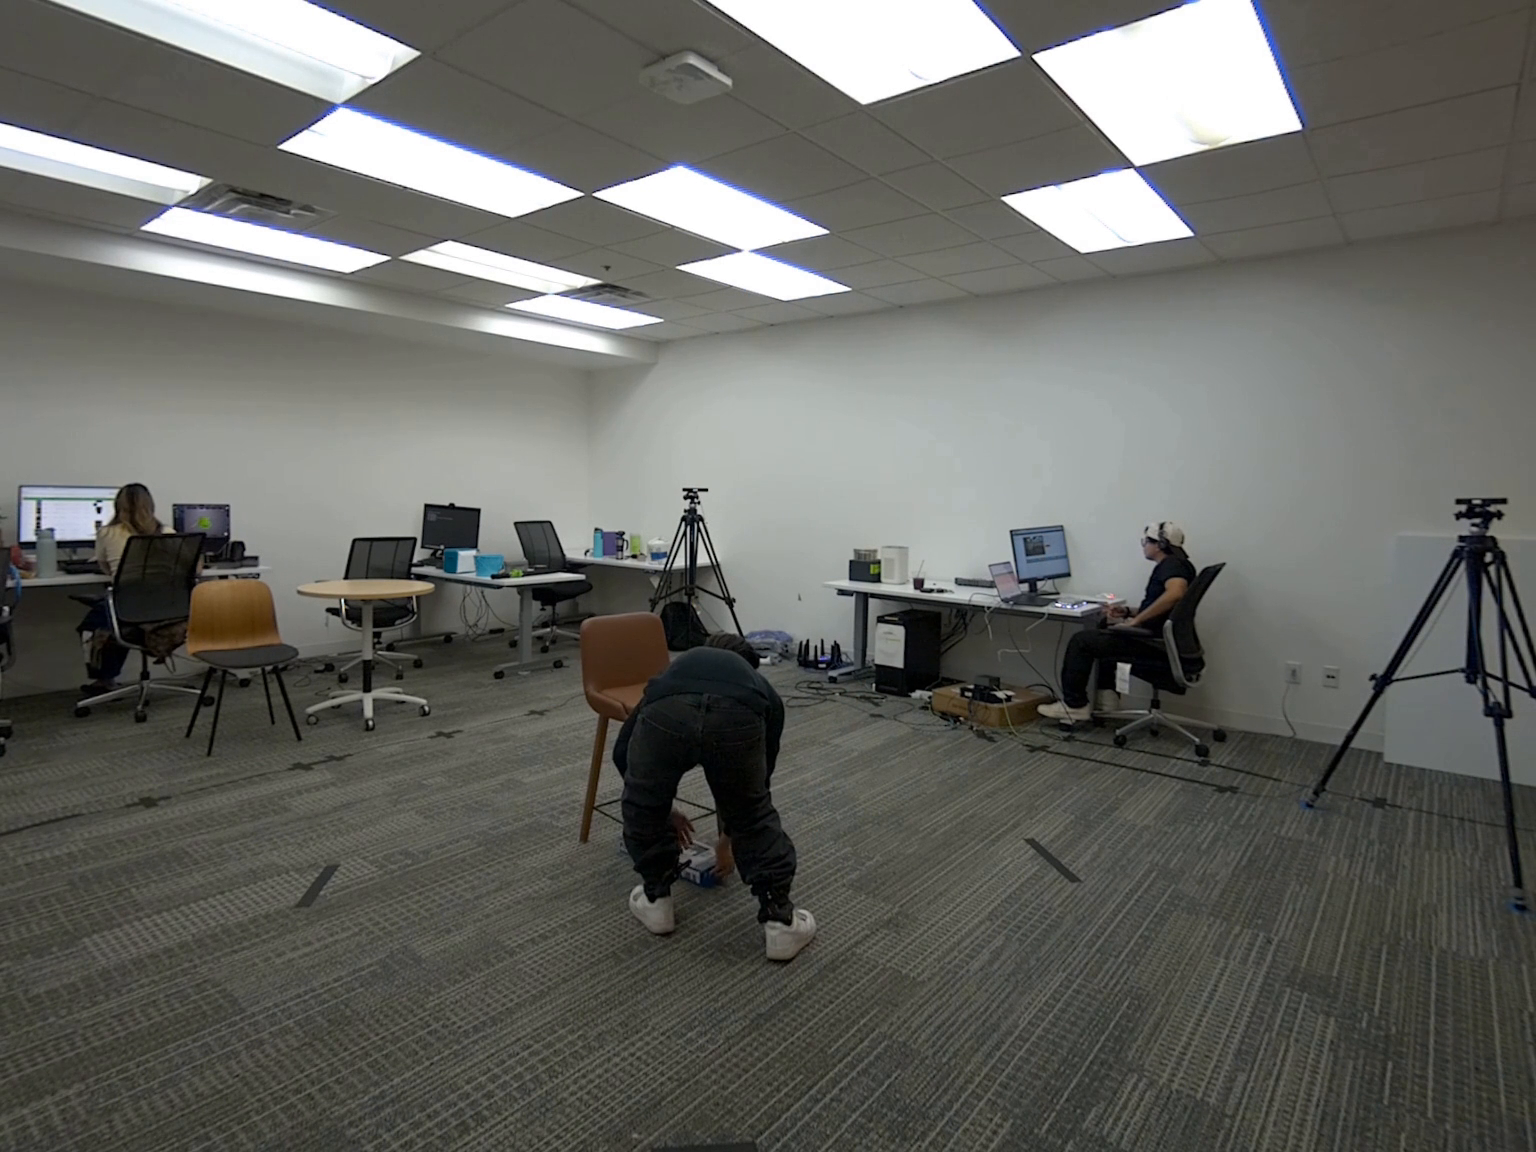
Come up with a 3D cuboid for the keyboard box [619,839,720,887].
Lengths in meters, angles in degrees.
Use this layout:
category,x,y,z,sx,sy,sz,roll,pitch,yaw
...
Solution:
category,x,y,z,sx,sy,sz,roll,pitch,yaw
keyboard box,-0.357,1.029,3.165,0.452,0.059,0.171,6,7,42
